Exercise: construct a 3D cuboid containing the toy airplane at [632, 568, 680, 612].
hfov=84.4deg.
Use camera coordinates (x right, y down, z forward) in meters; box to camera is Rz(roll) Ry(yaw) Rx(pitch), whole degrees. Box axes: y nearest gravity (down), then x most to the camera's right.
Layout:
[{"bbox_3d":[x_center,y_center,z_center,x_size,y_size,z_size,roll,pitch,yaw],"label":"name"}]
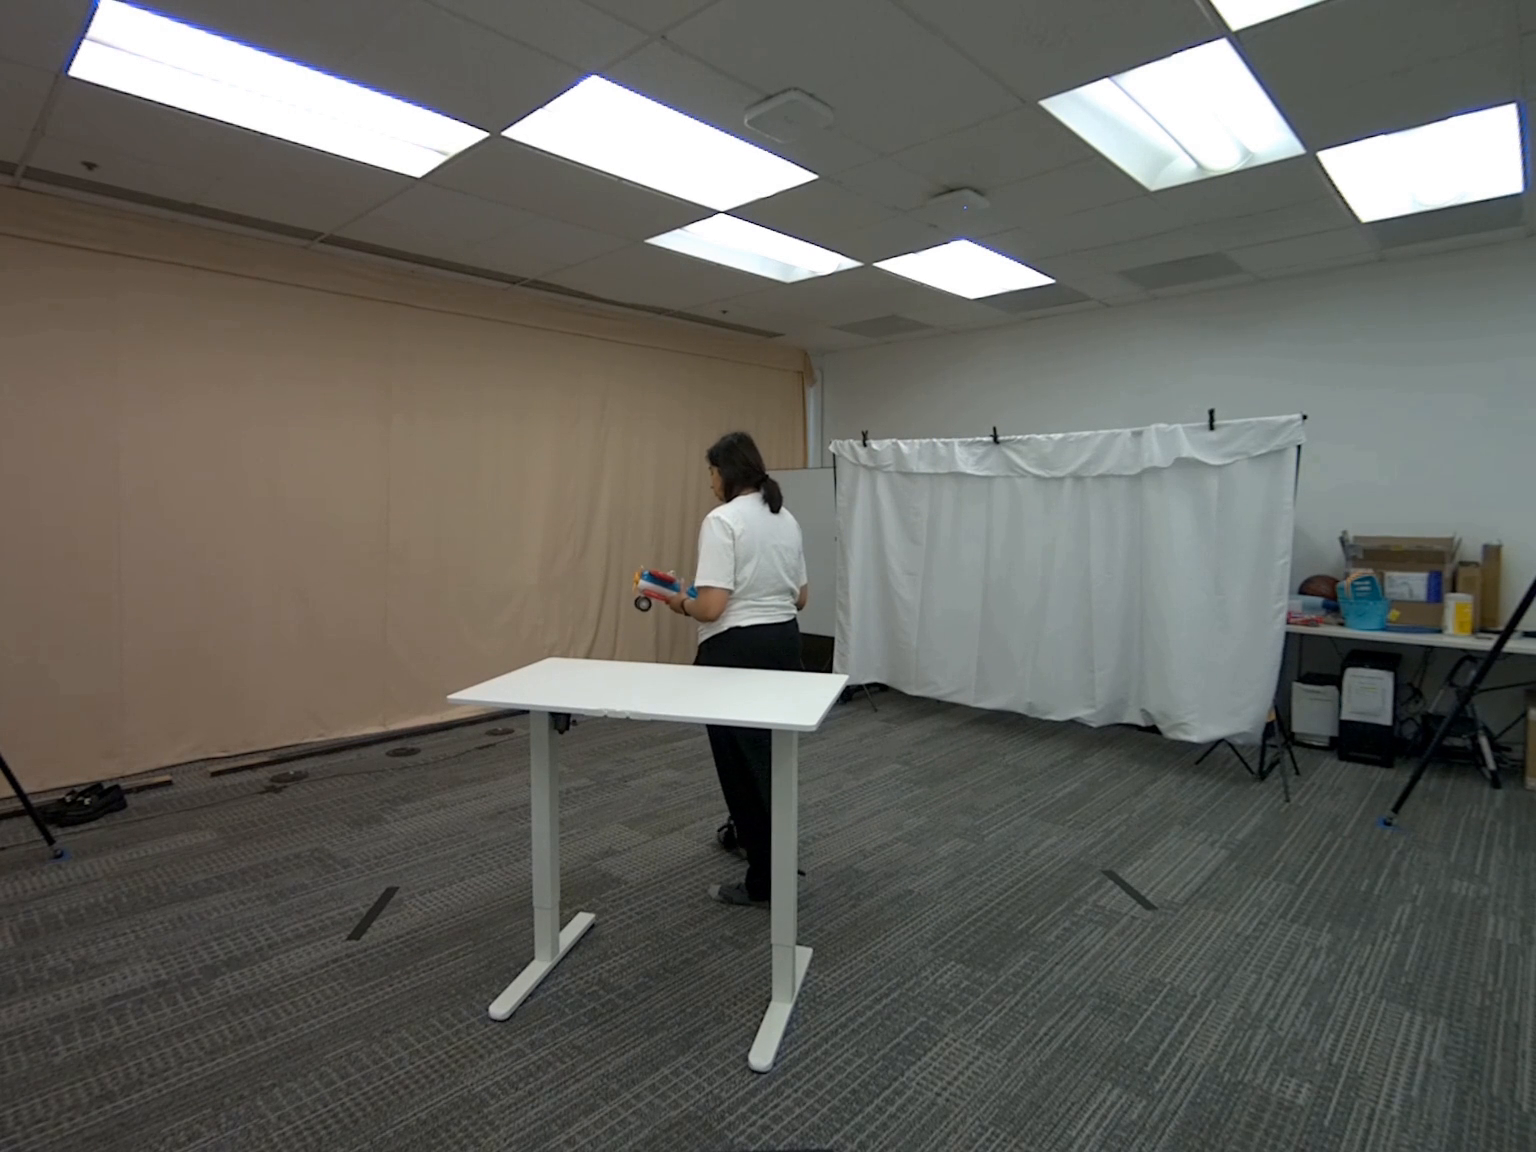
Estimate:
[{"bbox_3d":[-0.386,0.060,3.149,0.250,0.156,0.259,6,0,-43],"label":"toy airplane"}]
